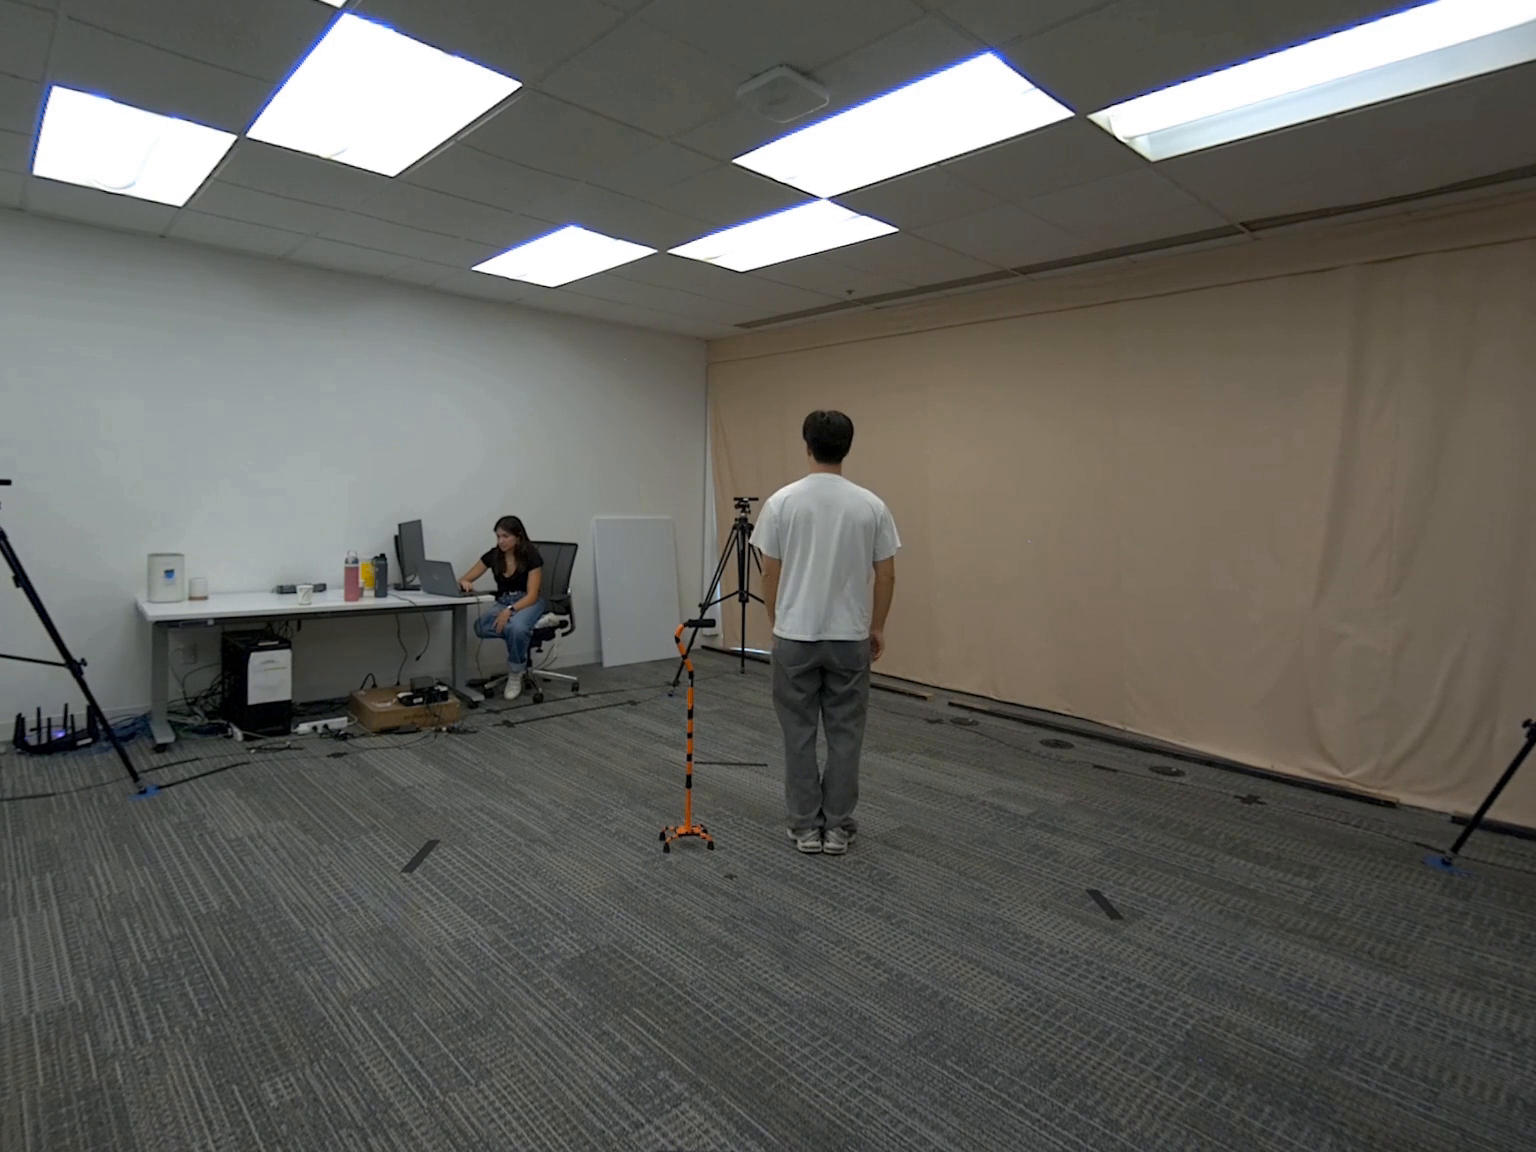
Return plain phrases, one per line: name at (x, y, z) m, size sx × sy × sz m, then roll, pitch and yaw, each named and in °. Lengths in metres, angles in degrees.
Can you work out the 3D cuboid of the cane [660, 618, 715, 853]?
cane at (-0.326, 0.631, 3.352) m, size 0.204 × 0.905 × 0.154 m, roll 0°, pitch 4°, yaw -15°
